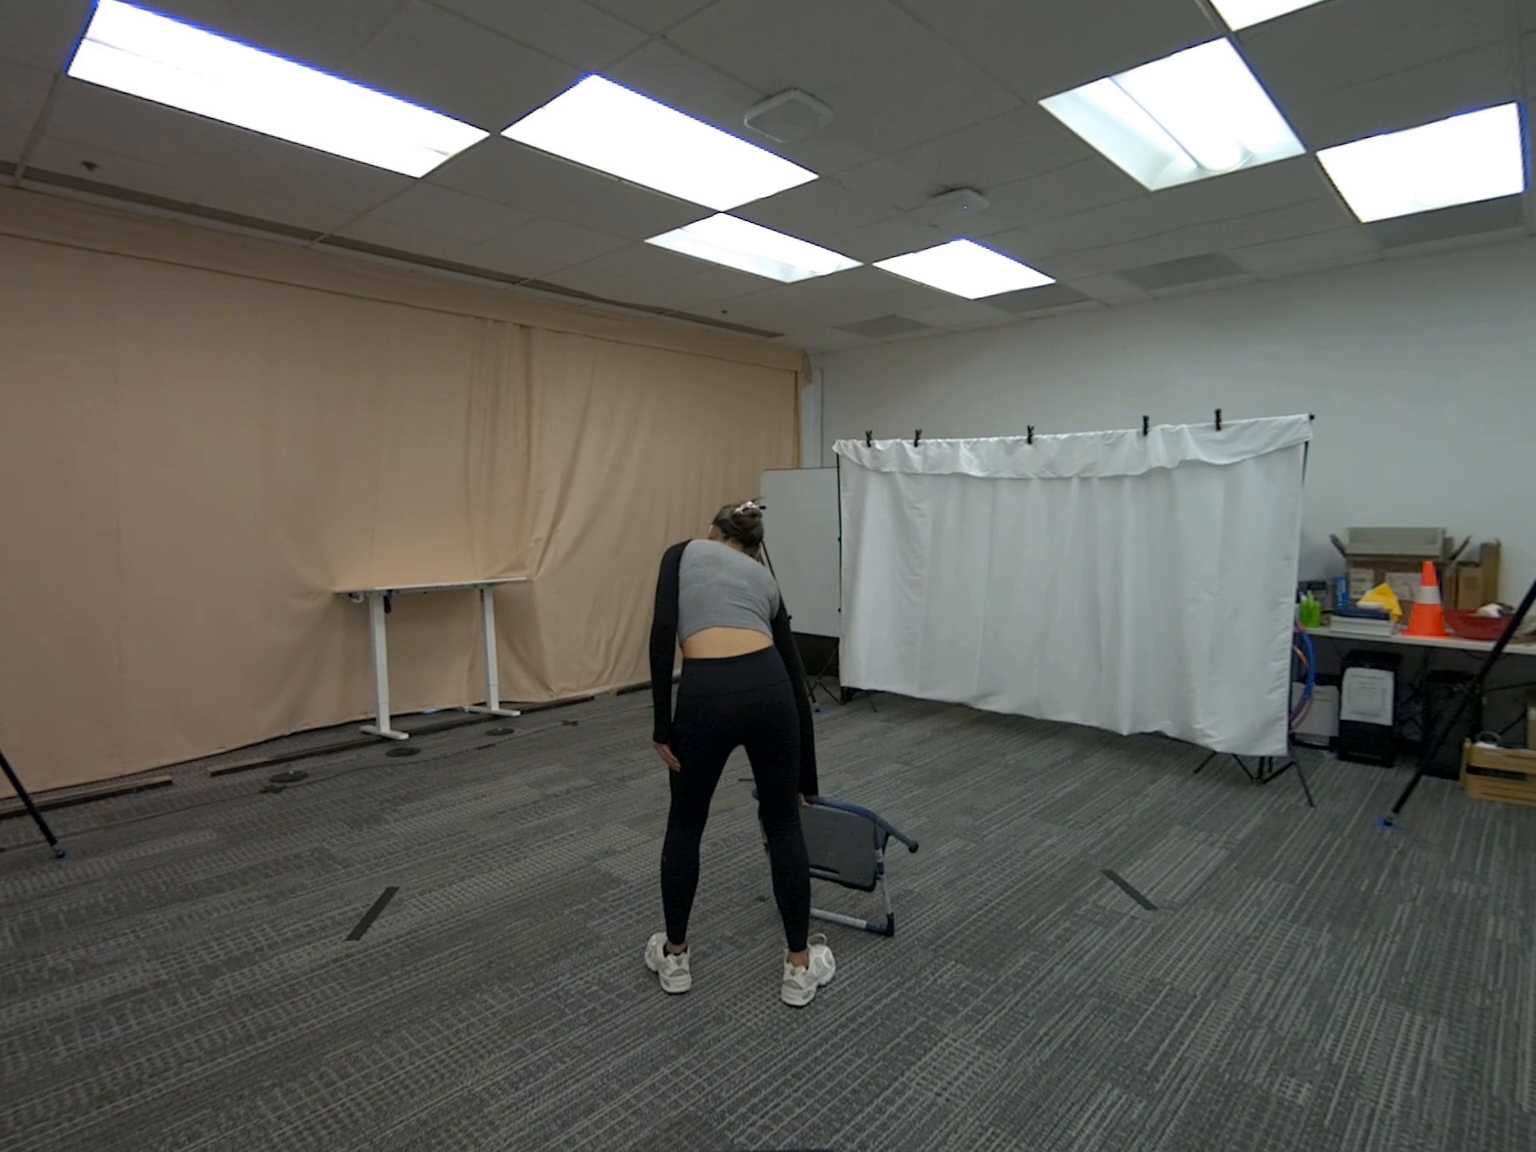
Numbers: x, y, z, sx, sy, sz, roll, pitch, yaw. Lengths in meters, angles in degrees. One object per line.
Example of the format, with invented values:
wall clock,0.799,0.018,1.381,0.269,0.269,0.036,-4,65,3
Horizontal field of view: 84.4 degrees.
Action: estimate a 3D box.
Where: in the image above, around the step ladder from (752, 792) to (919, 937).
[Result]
step ladder,0.199,0.831,2.749,0.442,0.589,0.350,2,43,27
